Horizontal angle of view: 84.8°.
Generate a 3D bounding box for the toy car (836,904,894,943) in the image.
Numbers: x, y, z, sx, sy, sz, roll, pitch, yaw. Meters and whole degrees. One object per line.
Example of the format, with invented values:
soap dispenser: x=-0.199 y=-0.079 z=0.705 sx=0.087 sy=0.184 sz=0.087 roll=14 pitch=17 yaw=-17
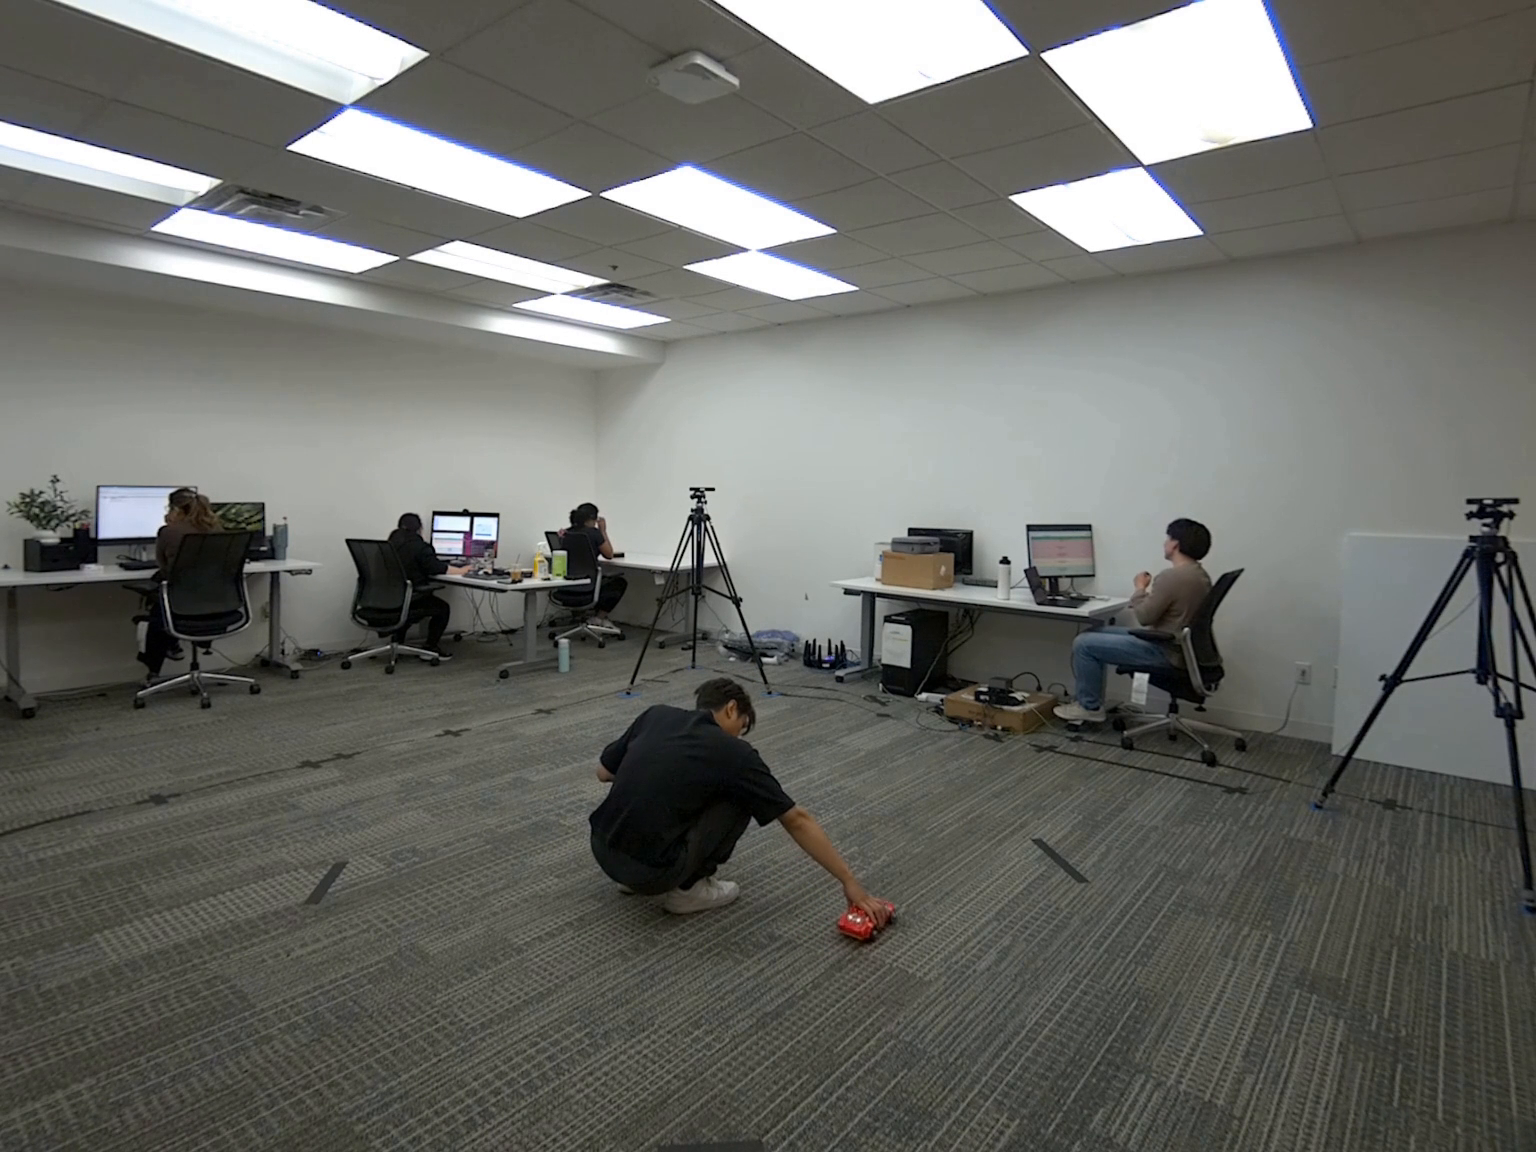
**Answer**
toy car: x=0.301 y=1.091 z=2.695 sx=0.134 sy=0.083 sz=0.245 roll=5 pitch=-5 yaw=35
